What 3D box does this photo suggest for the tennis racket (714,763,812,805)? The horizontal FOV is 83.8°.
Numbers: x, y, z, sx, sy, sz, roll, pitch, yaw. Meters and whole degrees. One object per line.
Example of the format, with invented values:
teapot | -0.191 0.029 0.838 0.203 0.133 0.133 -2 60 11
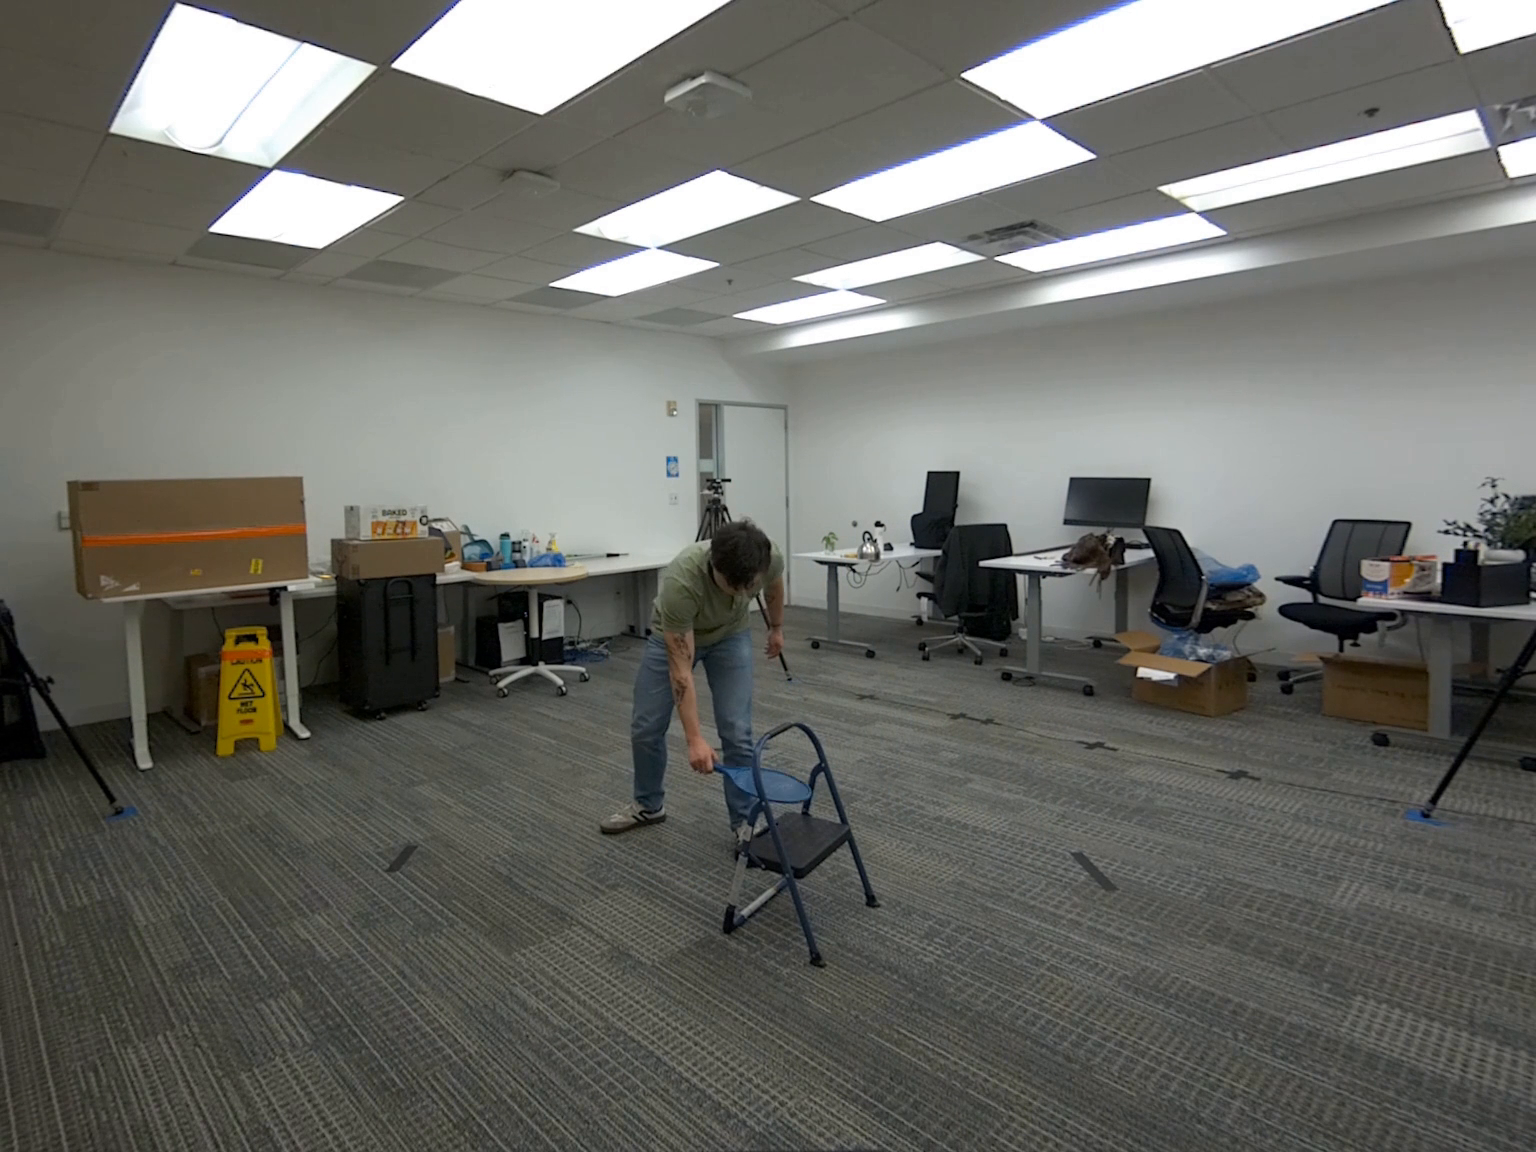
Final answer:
tennis racket | -0.054 0.671 2.809 0.443 0.031 0.210 11 12 23
